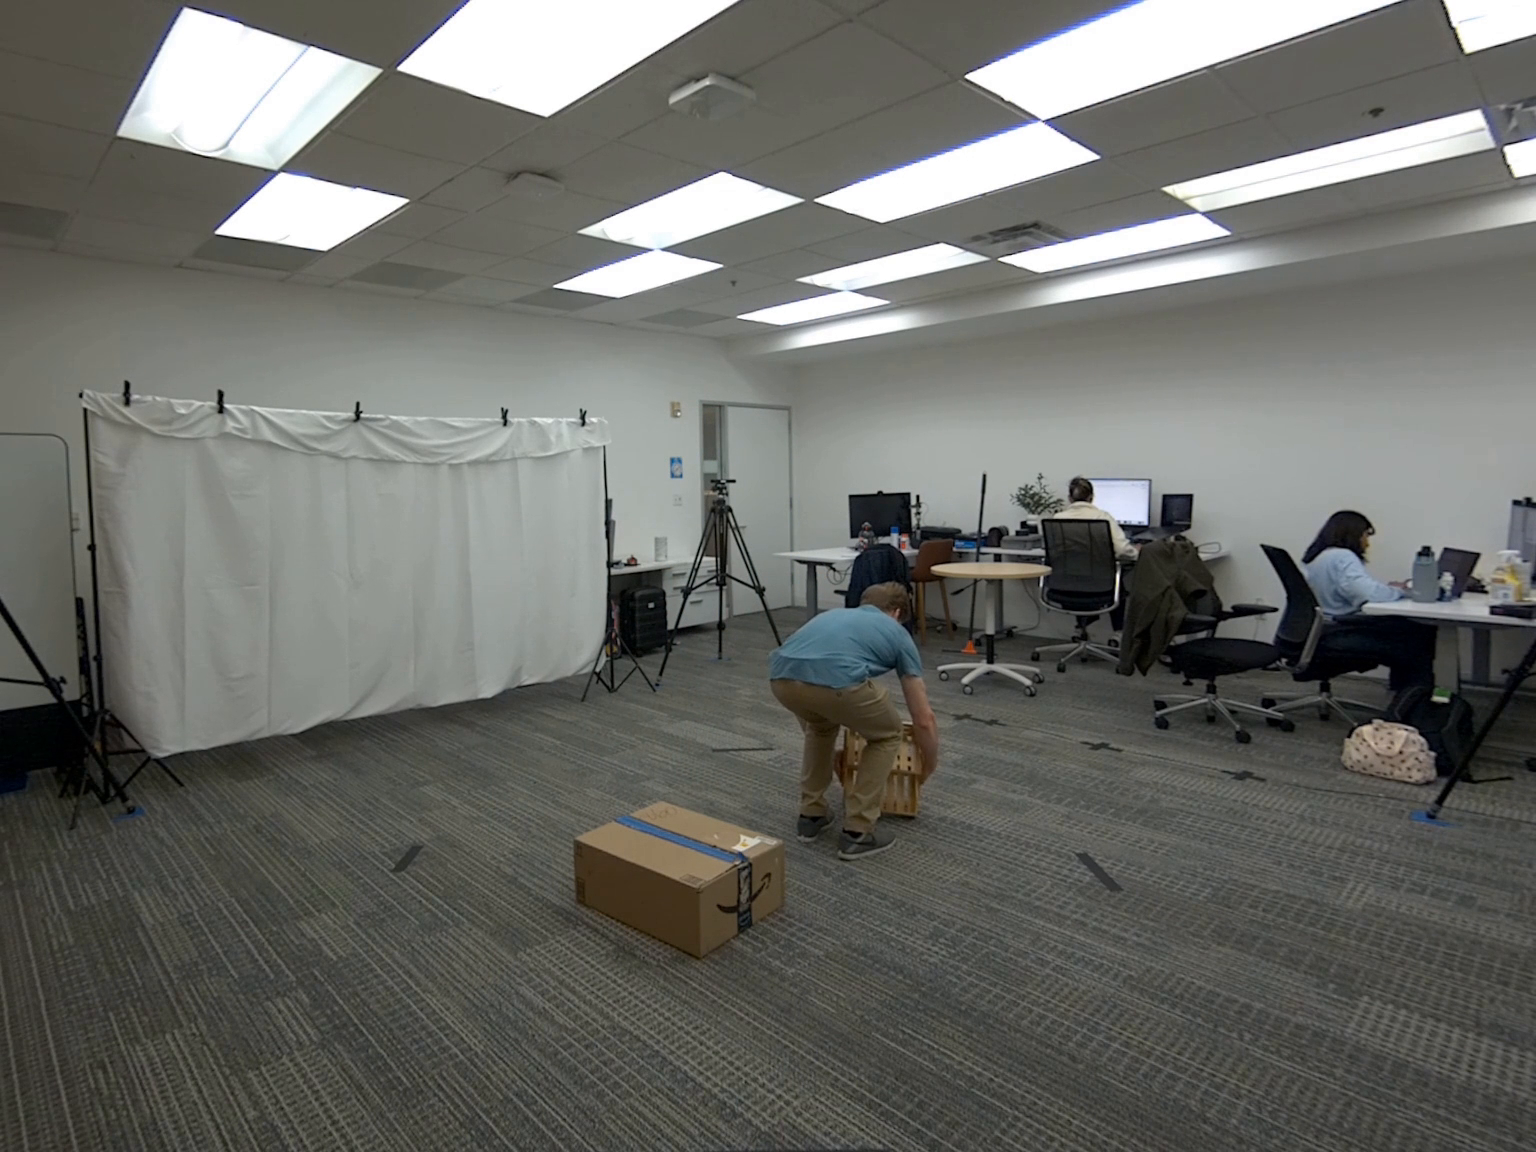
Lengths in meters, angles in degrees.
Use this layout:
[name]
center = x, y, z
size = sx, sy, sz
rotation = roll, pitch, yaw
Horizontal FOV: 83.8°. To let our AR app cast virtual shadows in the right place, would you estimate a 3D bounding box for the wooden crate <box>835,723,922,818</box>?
[wooden crate]
center = 0.475, 0.794, 3.539
size = 0.327, 0.265, 0.308
rotation = 4, 45, 7
